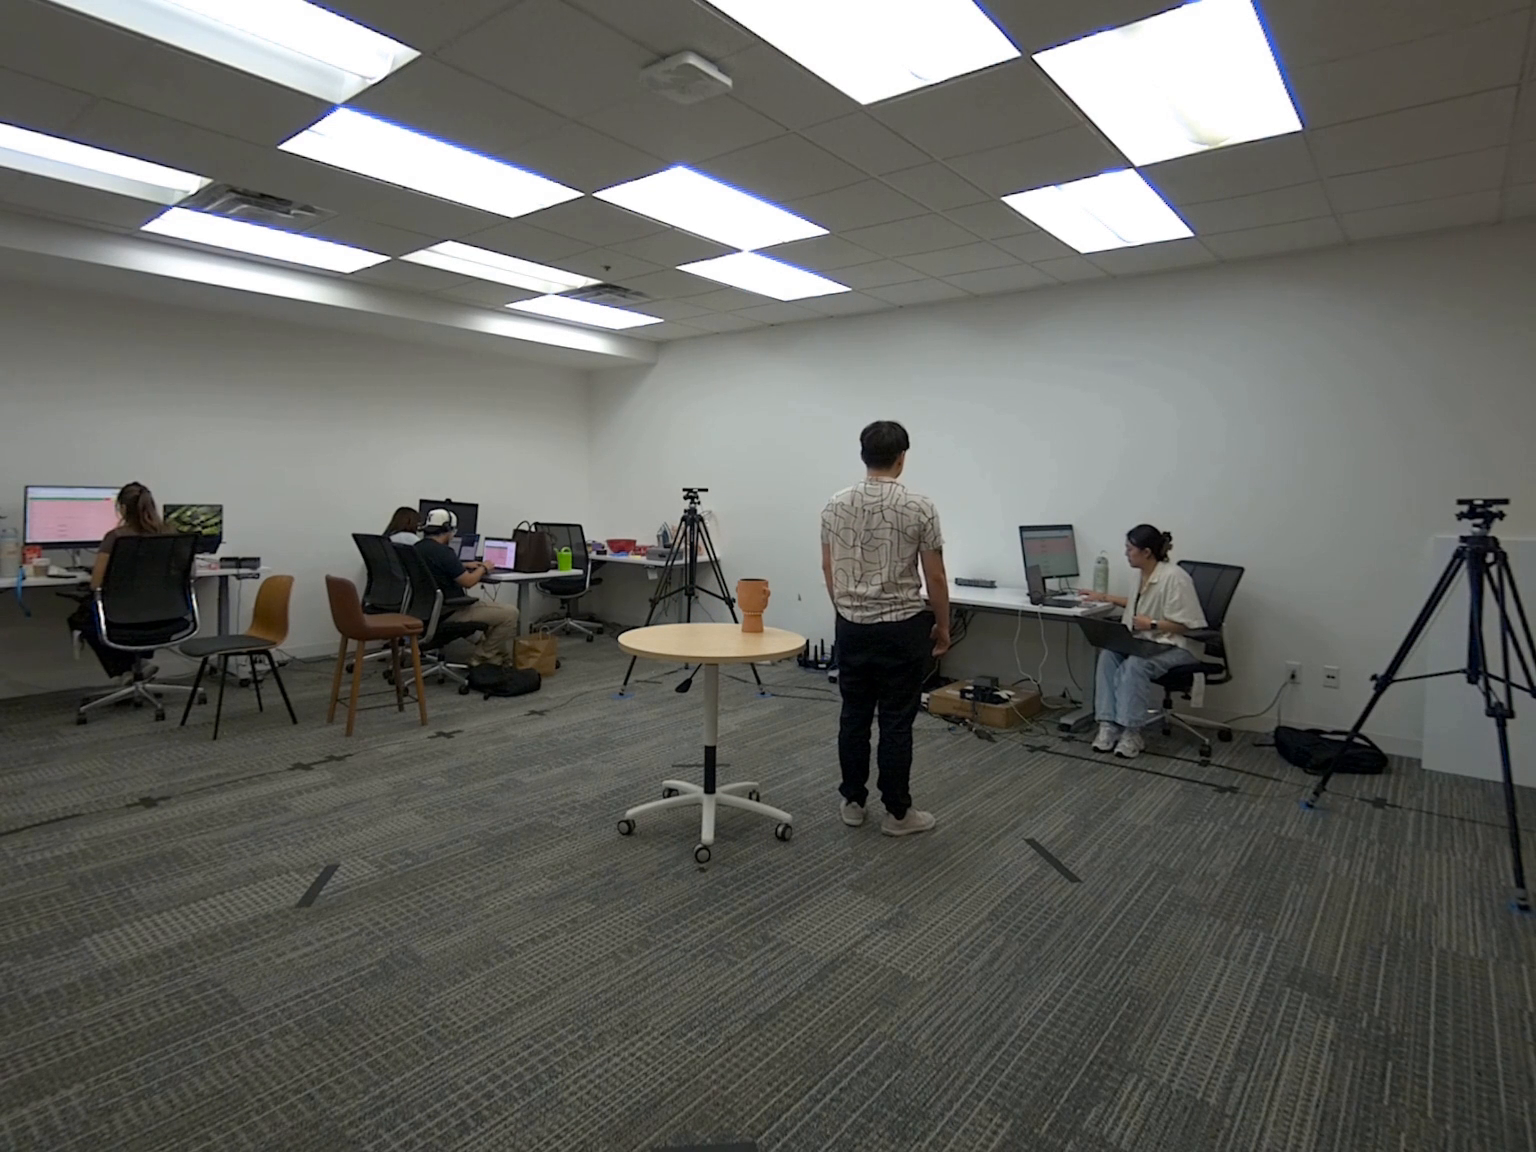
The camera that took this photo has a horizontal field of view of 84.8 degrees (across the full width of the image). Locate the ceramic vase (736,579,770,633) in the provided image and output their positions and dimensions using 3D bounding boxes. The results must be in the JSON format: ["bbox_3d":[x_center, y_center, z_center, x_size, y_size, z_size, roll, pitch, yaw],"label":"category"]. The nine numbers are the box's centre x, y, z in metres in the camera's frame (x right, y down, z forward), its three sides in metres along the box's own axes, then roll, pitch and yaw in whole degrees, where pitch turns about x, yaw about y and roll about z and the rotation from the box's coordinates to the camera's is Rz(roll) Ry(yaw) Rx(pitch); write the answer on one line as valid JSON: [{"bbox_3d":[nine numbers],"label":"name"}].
[{"bbox_3d":[-0.075,0.124,3.681,0.134,0.219,0.160,1,3,-5],"label":"ceramic vase"}]
